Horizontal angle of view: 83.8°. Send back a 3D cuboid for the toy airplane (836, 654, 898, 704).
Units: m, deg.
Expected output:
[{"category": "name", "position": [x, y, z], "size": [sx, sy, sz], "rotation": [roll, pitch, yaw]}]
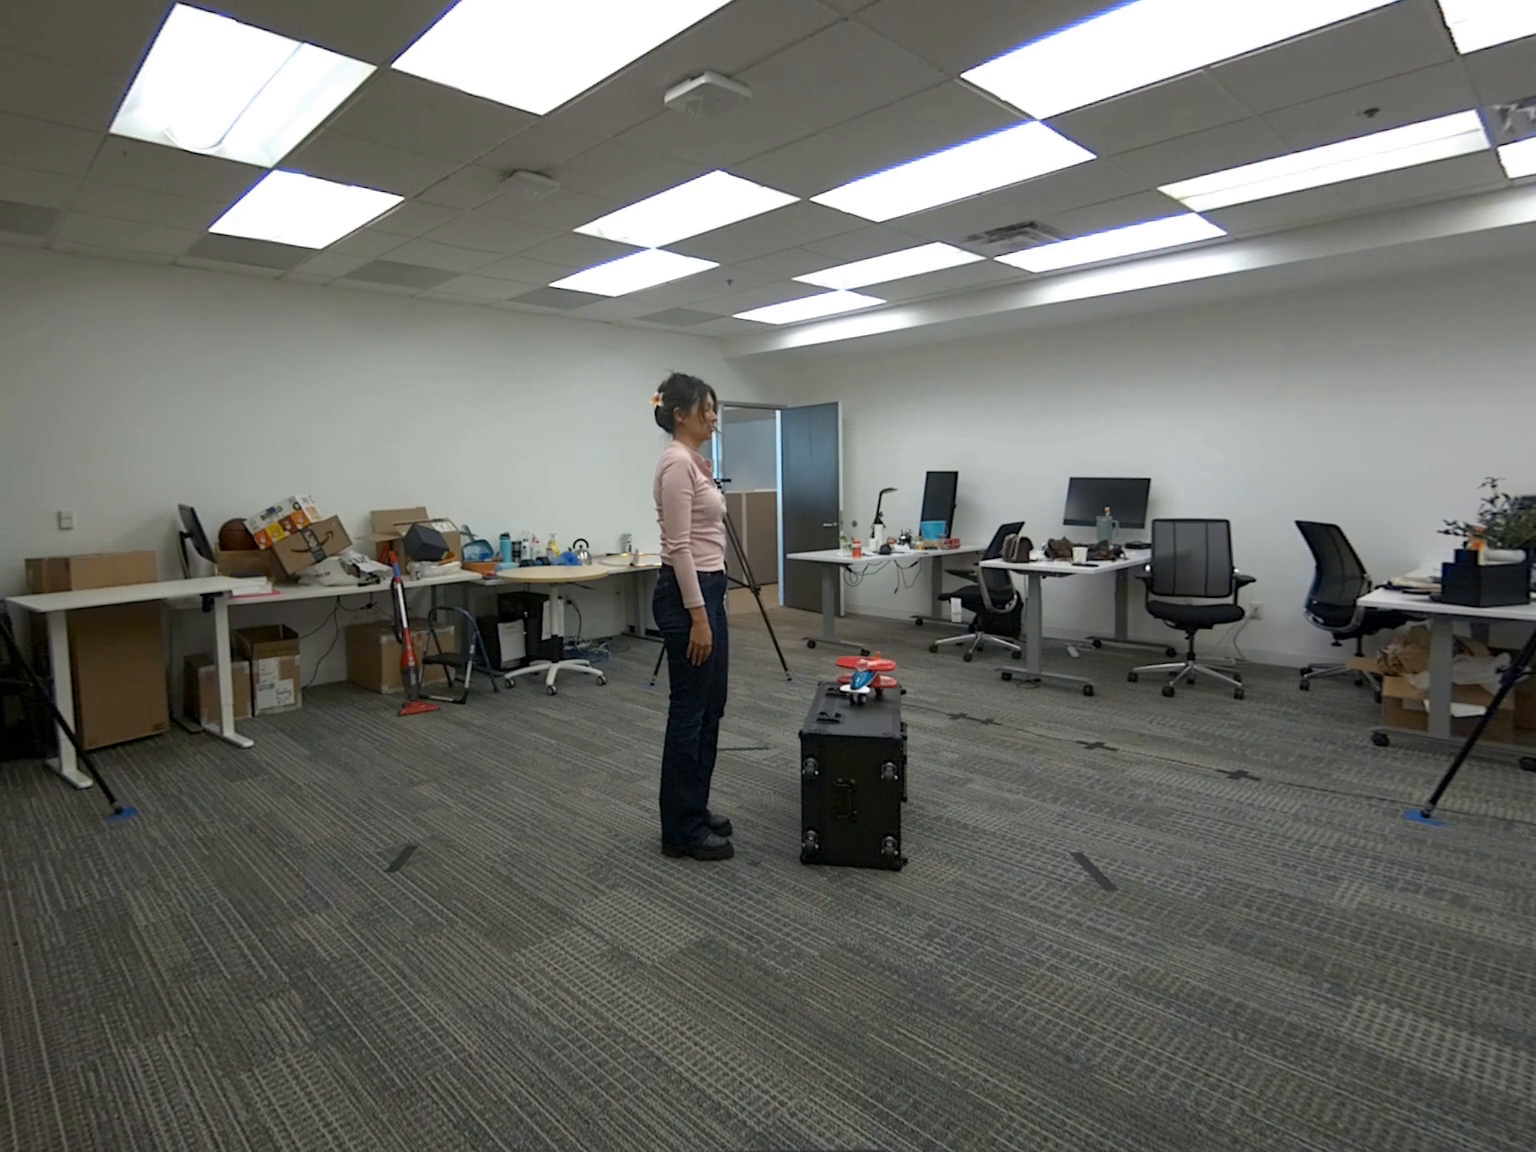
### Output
[{"category": "toy airplane", "position": [0.417, 0.428, 3.539], "size": [0.251, 0.156, 0.260], "rotation": [-1, 5, -2]}]
